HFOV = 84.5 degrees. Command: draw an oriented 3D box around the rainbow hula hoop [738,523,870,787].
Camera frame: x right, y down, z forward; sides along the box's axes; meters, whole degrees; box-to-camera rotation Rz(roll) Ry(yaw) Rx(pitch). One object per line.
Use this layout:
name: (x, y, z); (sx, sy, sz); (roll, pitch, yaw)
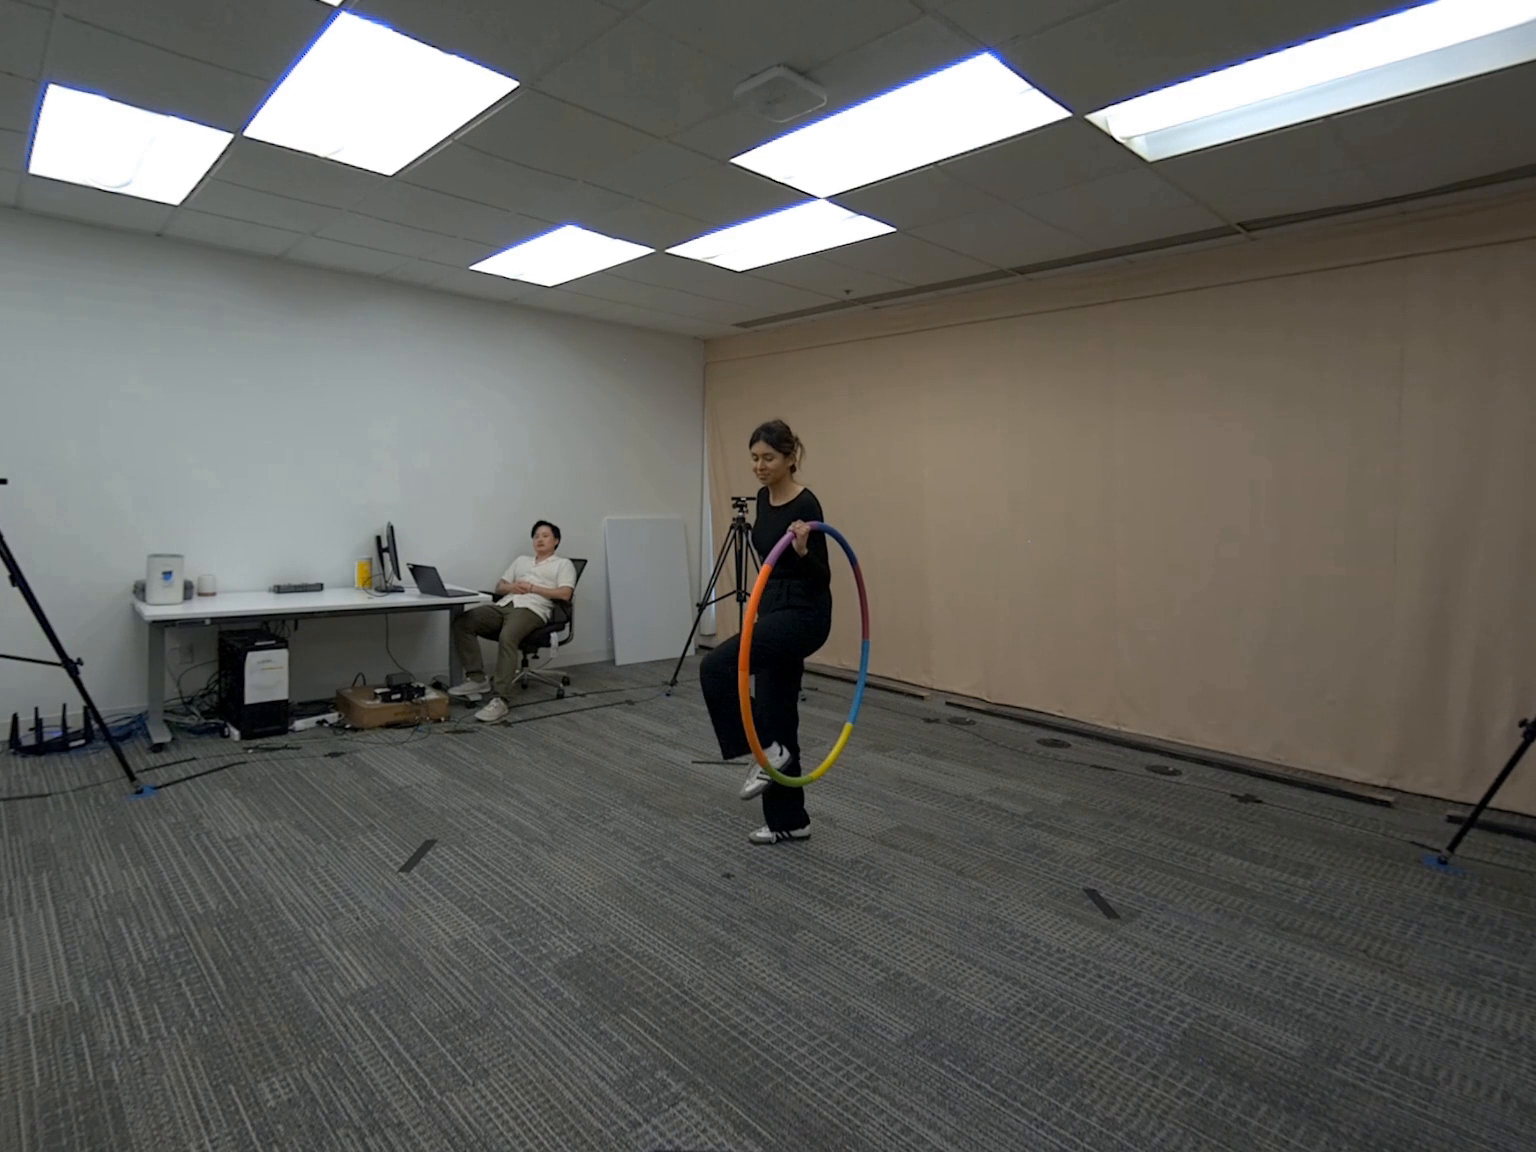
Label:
rainbow hula hoop: (0.161, 0.286, 3.186); (0.036, 0.976, 0.959); (2, 4, 31)
